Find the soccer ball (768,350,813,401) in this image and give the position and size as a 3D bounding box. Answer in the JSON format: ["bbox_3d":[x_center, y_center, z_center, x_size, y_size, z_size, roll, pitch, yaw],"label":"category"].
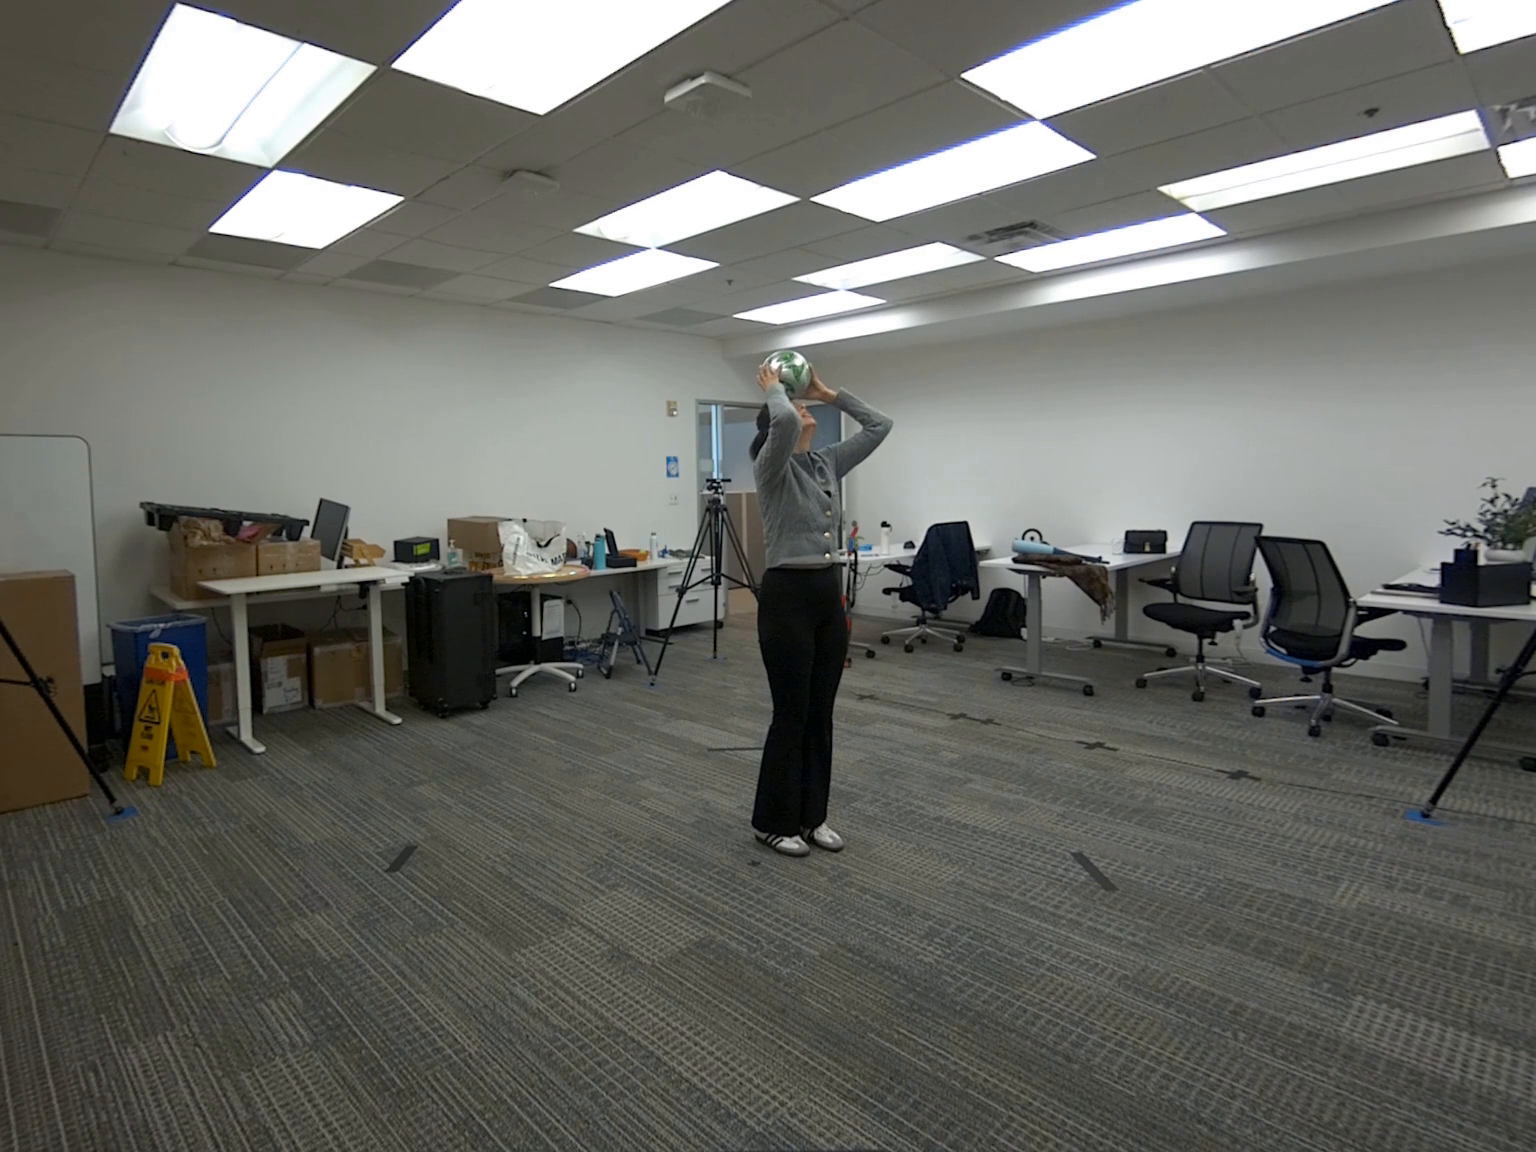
[{"bbox_3d":[0.066,-0.749,3.201,0.187,0.187,0.188,-1,5,-2],"label":"soccer ball"}]
